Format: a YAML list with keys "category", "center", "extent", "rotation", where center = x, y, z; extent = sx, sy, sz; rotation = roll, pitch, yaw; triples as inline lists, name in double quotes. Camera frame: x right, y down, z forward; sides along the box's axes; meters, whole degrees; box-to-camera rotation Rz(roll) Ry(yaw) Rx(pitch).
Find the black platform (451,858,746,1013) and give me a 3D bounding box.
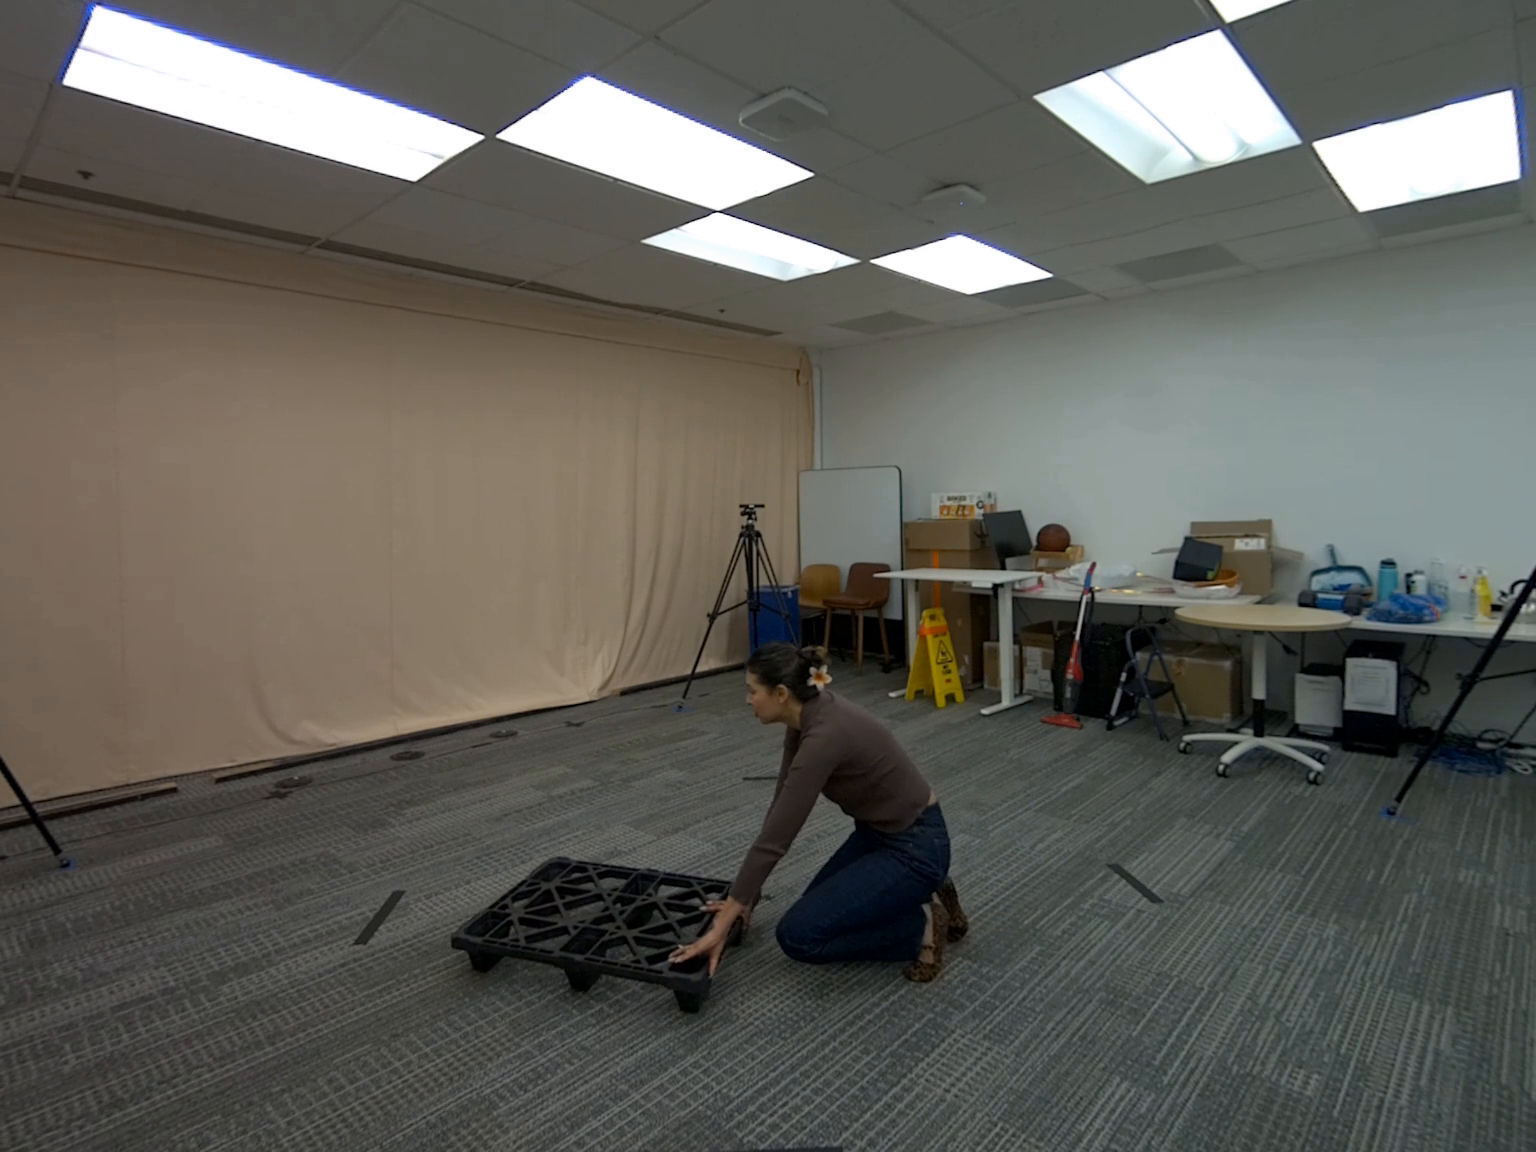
- category: "black platform"
  center: [-0.477, 1.118, 2.641]
  extent: [0.822, 0.143, 0.595]
  rotation: [1, 6, 18]
